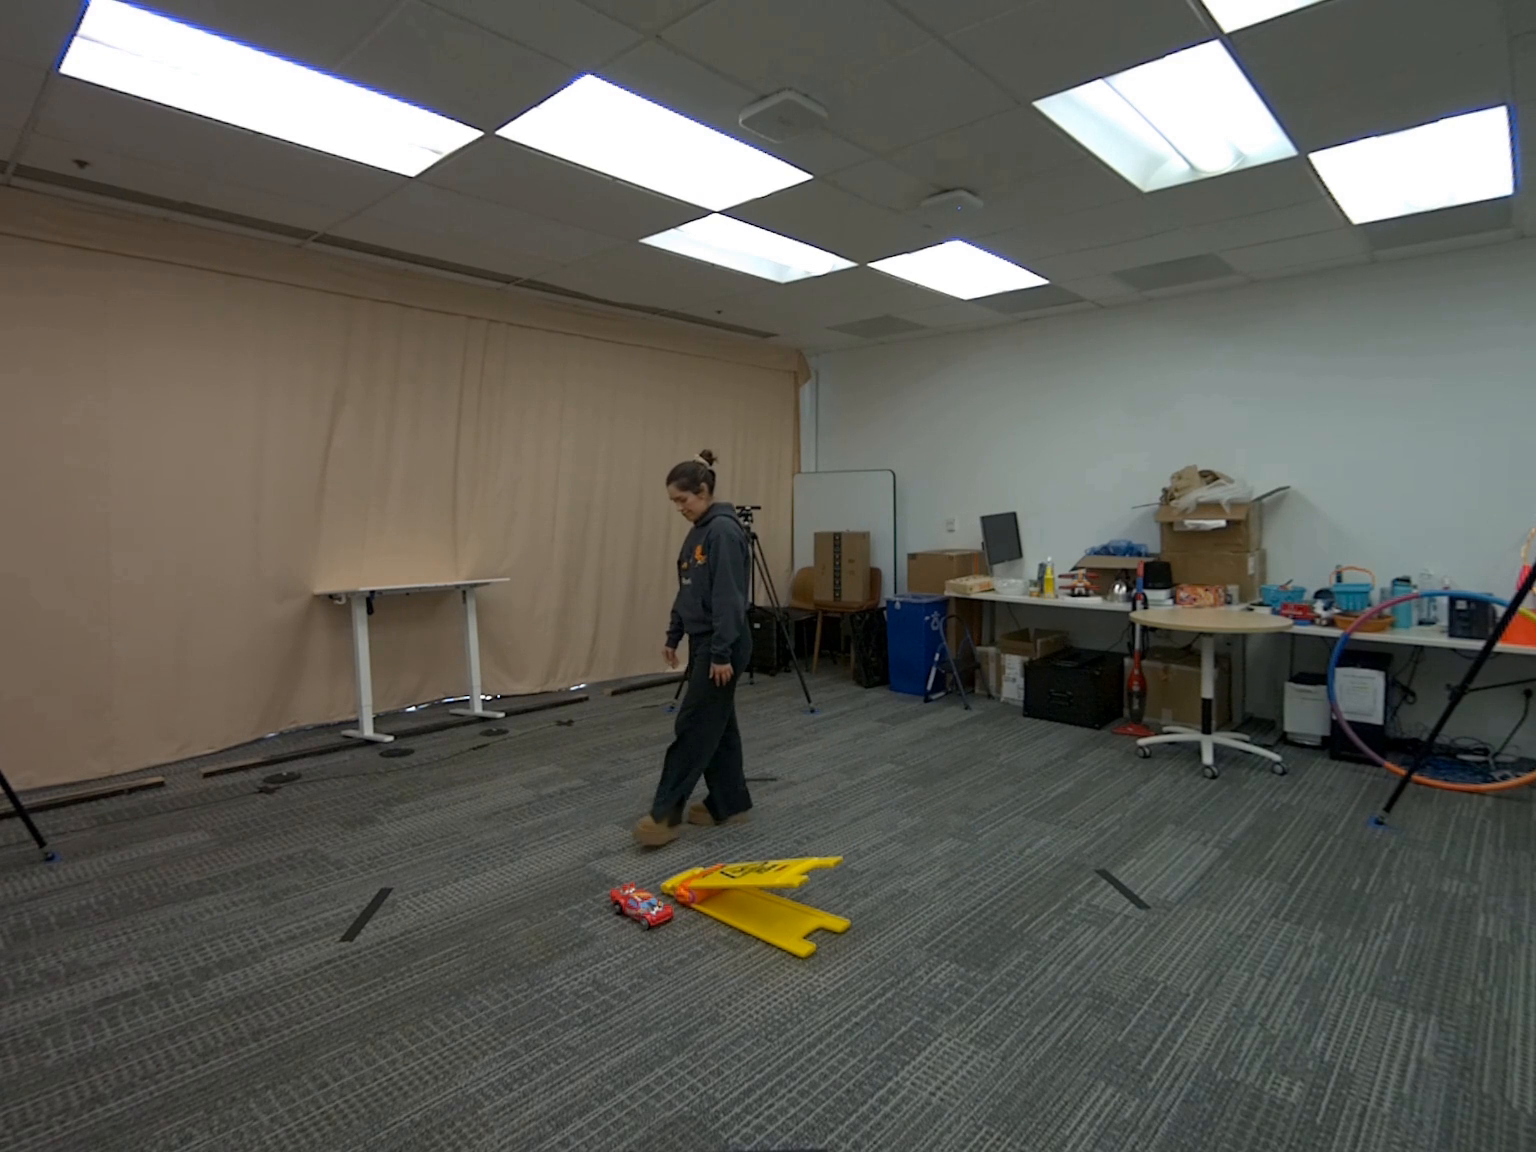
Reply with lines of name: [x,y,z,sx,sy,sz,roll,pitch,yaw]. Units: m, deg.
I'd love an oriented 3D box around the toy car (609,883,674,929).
toy car: [-0.419,1.121,2.876,0.126,0.083,0.264,-5,17,-43]
